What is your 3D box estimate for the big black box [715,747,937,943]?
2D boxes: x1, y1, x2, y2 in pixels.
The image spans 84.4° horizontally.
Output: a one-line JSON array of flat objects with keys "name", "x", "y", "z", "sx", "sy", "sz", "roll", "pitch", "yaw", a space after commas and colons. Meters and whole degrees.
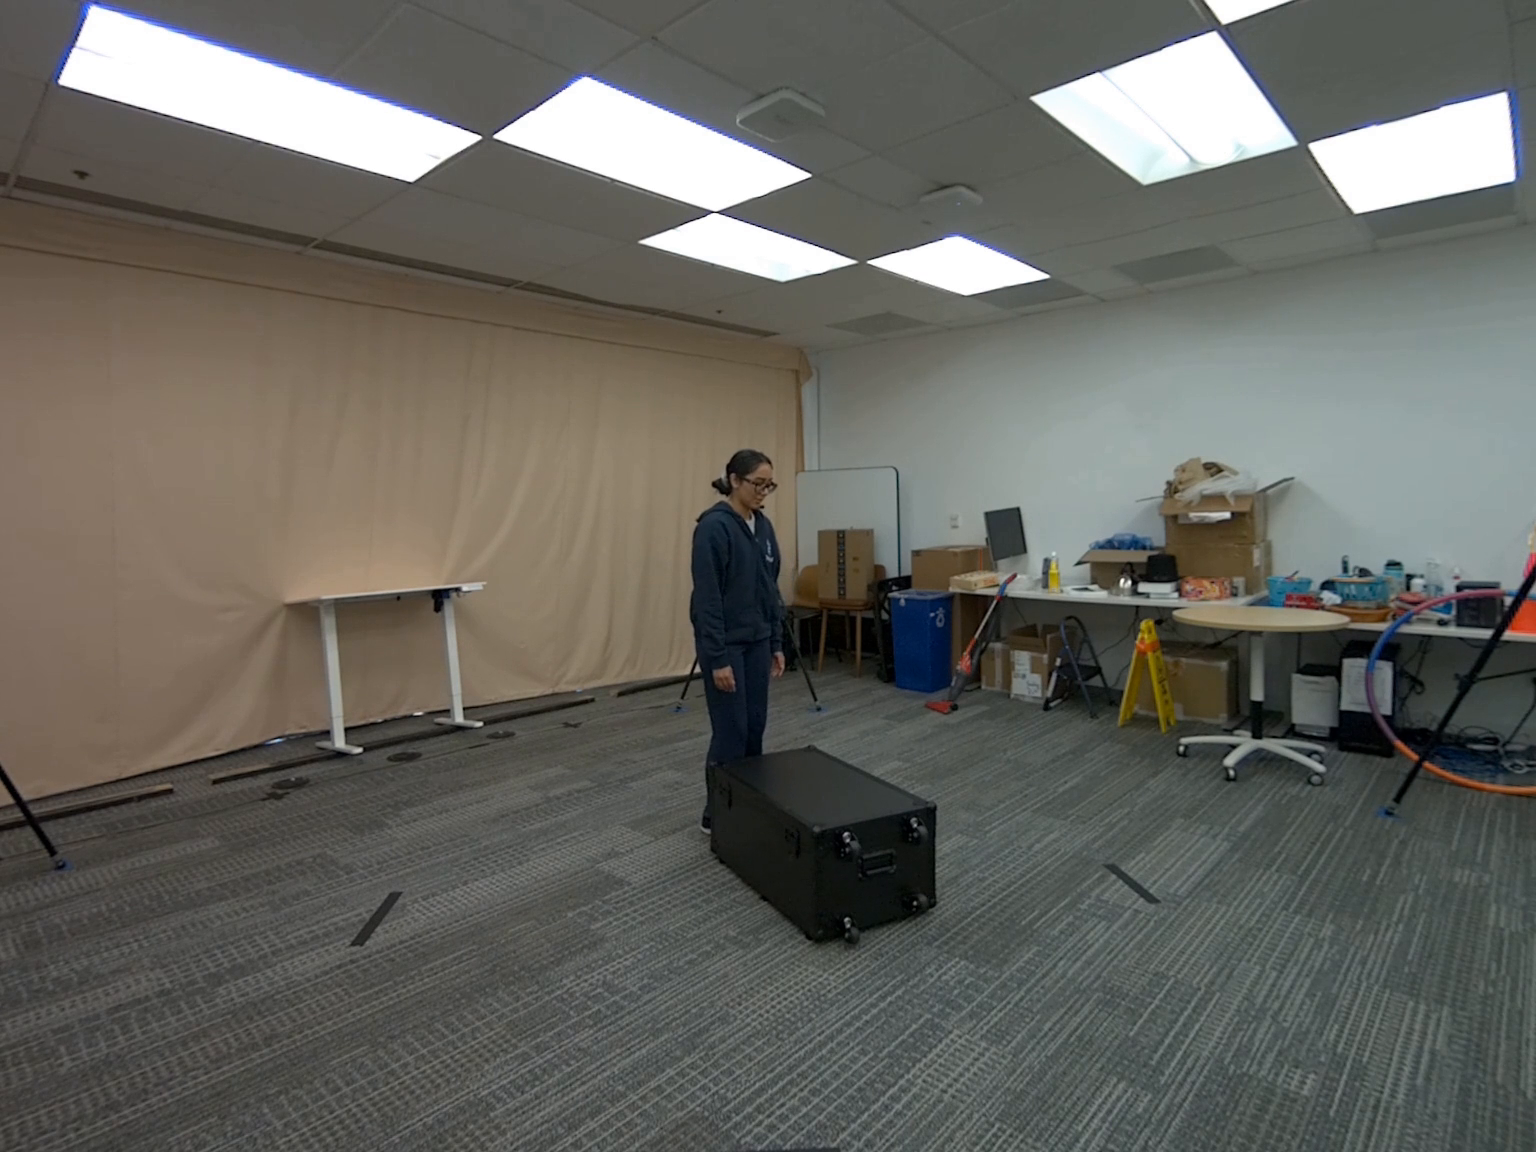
[{"name": "big black box", "x": 0.219, "y": 0.958, "z": 3.051, "sx": 0.386, "sy": 0.520, "sz": 0.885, "roll": -4, "pitch": 5, "yaw": -28}]
